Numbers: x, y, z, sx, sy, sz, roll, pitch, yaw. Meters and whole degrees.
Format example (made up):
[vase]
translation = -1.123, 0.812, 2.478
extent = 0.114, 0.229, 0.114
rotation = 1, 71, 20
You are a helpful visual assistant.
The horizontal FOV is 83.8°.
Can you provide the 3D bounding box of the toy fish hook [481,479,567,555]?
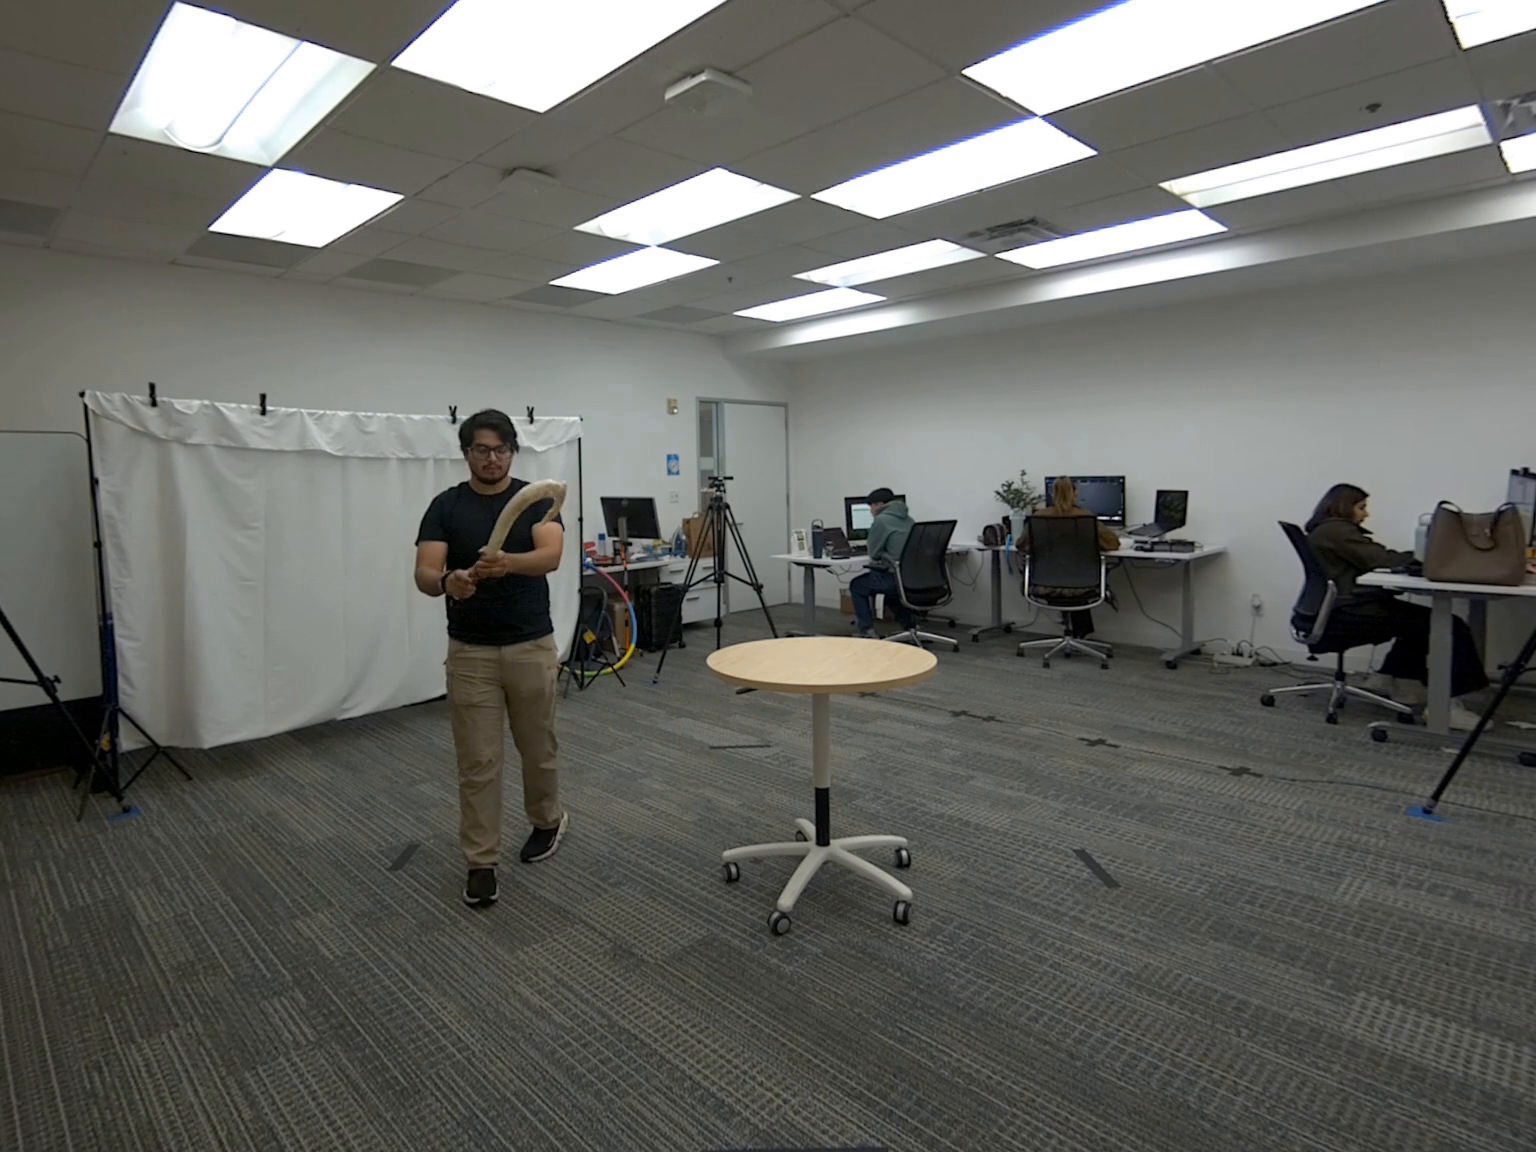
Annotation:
[toy fish hook]
translation = -0.786, -0.095, 2.592
extent = 0.506, 0.049, 0.219
rotation = -48, -21, 23
